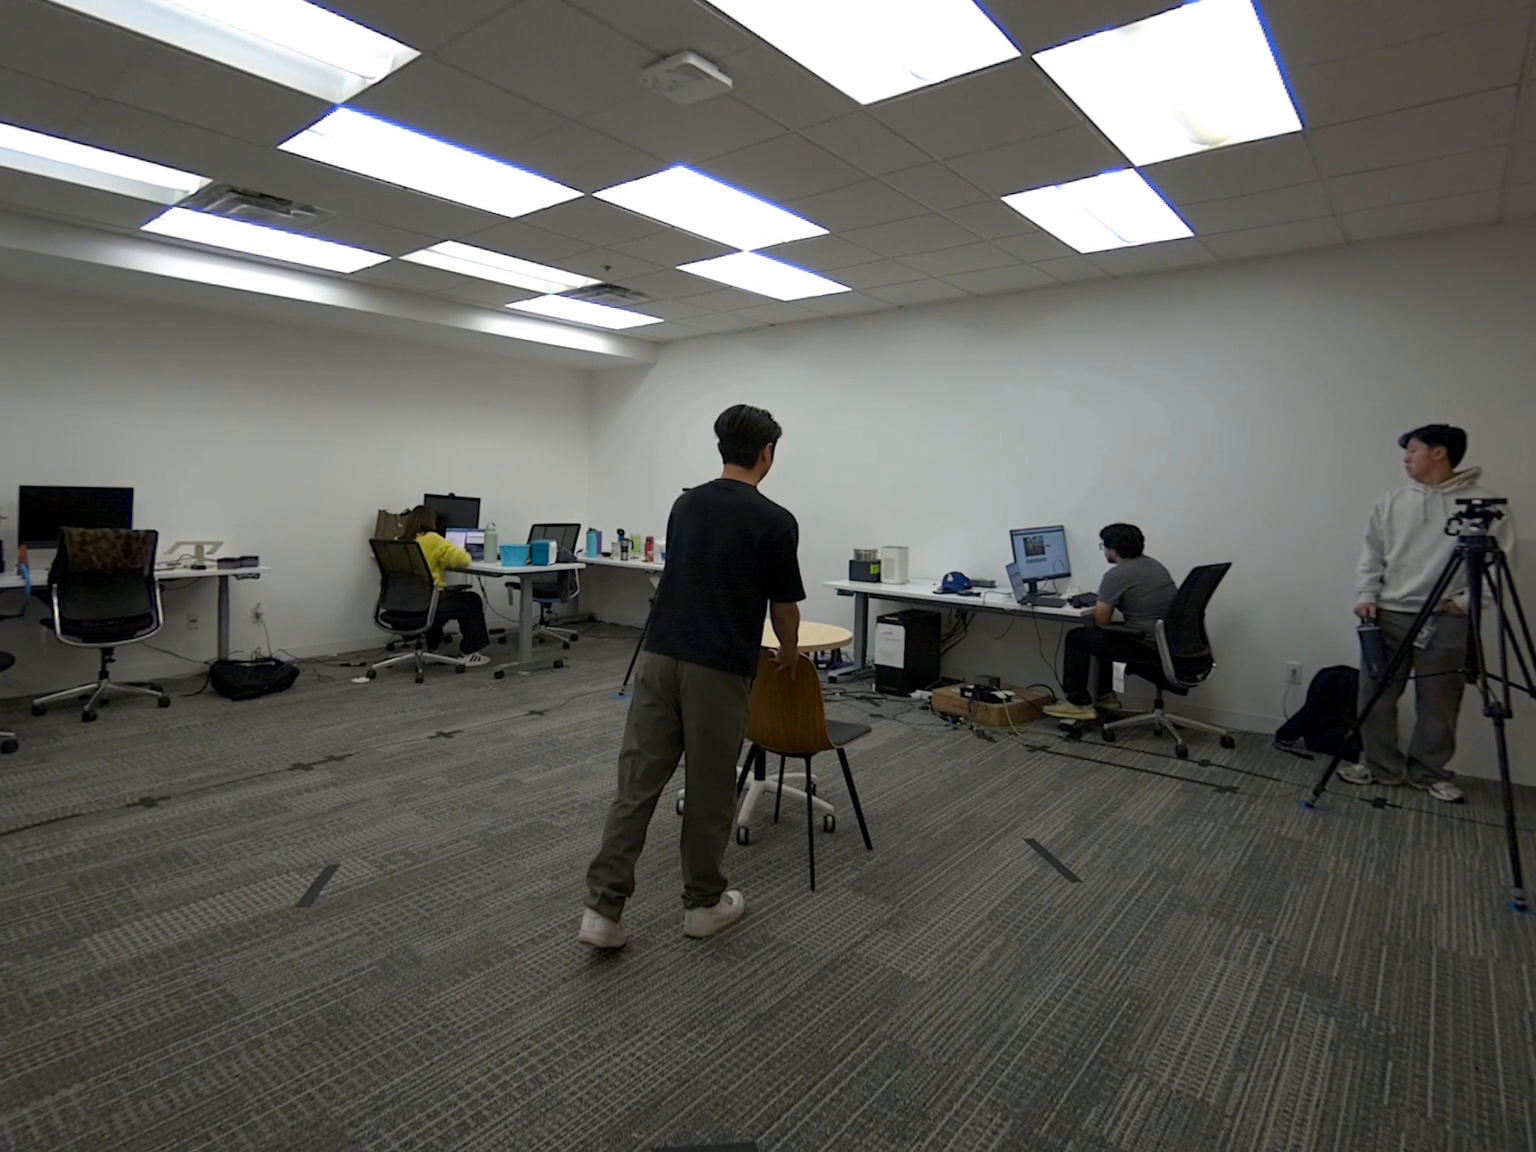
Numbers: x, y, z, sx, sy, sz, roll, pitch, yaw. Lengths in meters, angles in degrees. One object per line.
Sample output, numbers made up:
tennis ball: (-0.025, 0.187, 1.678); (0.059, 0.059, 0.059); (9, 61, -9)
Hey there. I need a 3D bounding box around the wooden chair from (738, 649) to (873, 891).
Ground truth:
wooden chair: (0.101, 0.632, 3.246); (0.493, 0.871, 0.510); (4, 9, 35)
